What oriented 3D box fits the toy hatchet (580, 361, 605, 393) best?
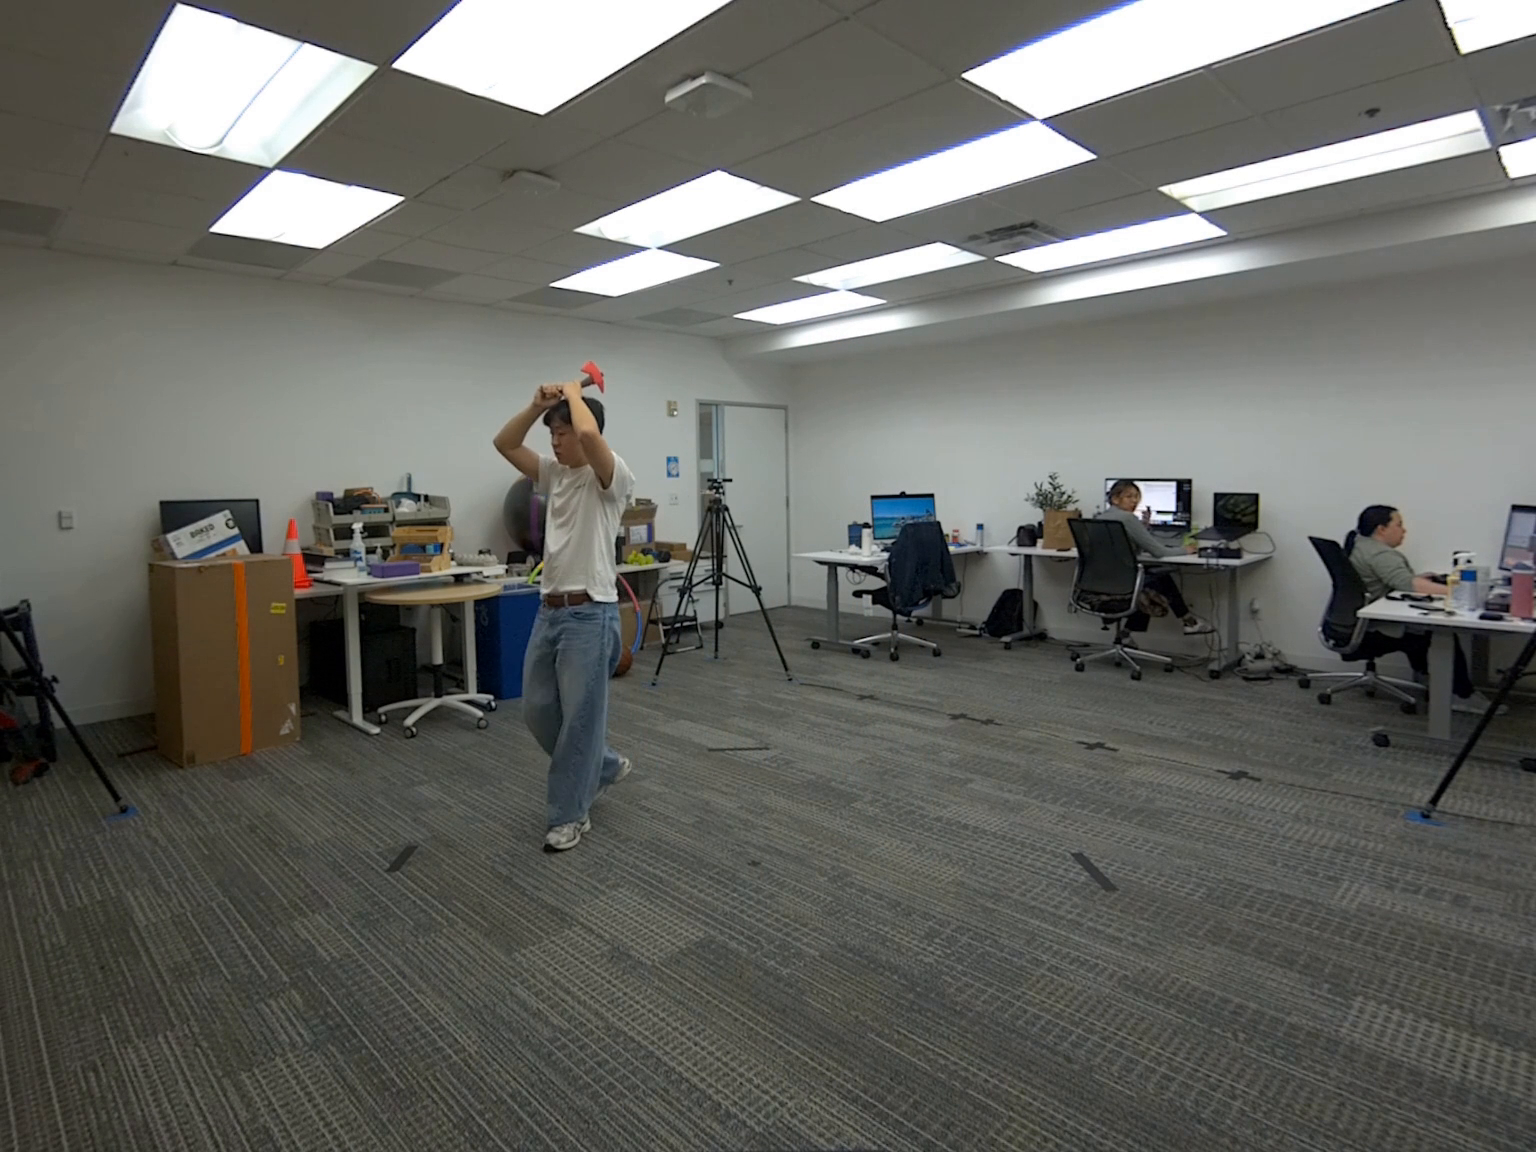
[{"bbox_3d":[-0.759,-0.772,3.330,0.264,0.129,0.030,-11,16,-31],"label":"toy hatchet"}]
